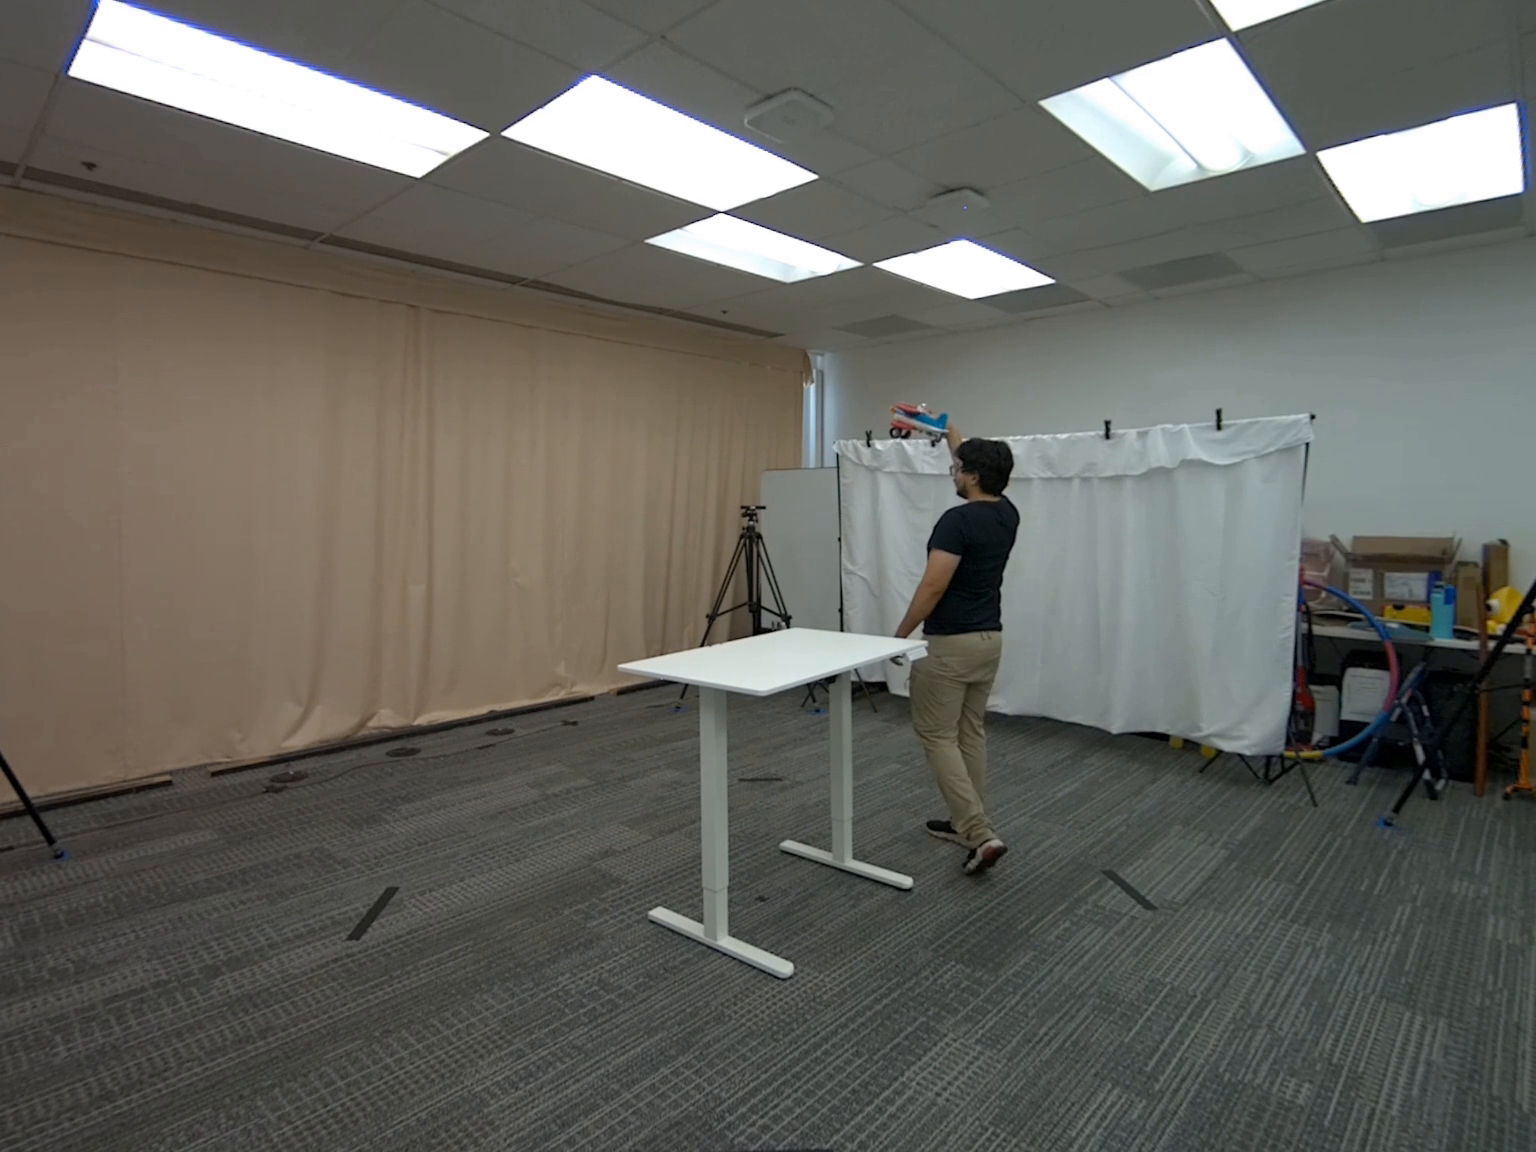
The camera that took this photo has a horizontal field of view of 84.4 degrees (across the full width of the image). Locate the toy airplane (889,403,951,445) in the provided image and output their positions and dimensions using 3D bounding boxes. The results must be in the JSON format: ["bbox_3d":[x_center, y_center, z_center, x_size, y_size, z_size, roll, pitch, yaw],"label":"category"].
[{"bbox_3d":[0.685,-0.683,3.776,0.262,0.155,0.249,6,11,10],"label":"toy airplane"}]
